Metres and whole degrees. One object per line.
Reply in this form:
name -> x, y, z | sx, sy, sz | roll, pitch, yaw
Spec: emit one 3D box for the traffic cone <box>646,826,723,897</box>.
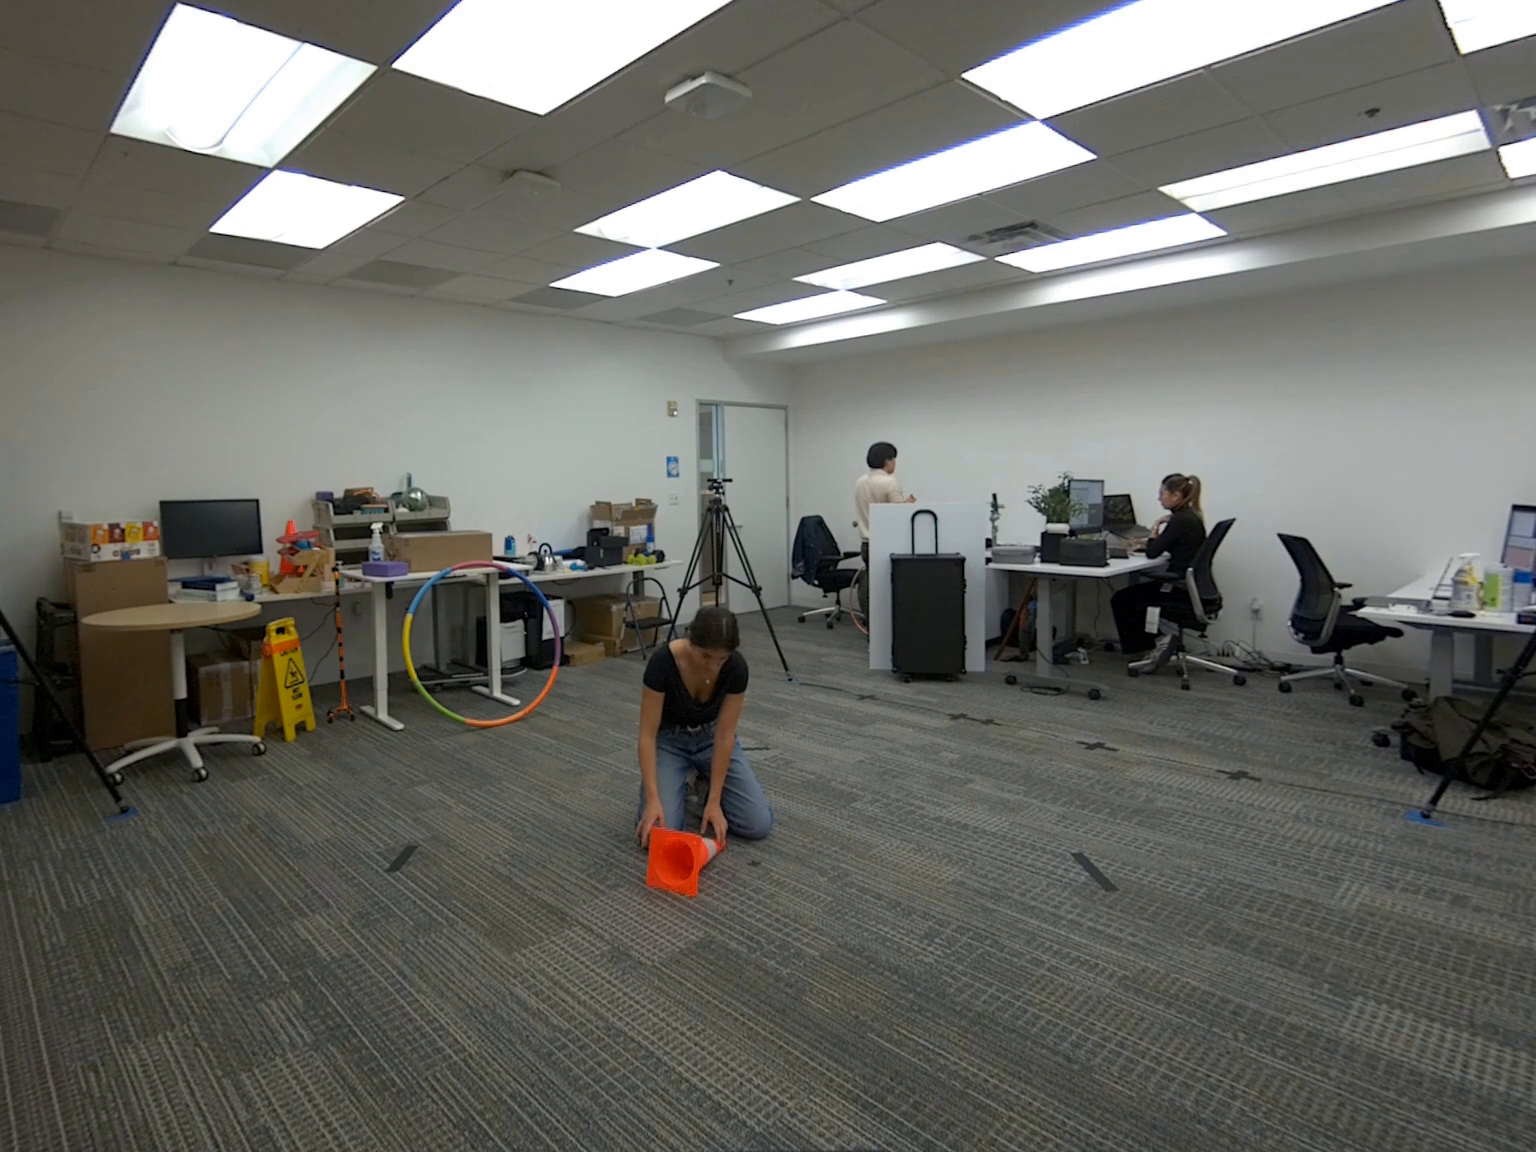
traffic cone -> -0.268, 0.999, 3.100 | 0.209, 0.205, 0.373 | 0, -7, 22
